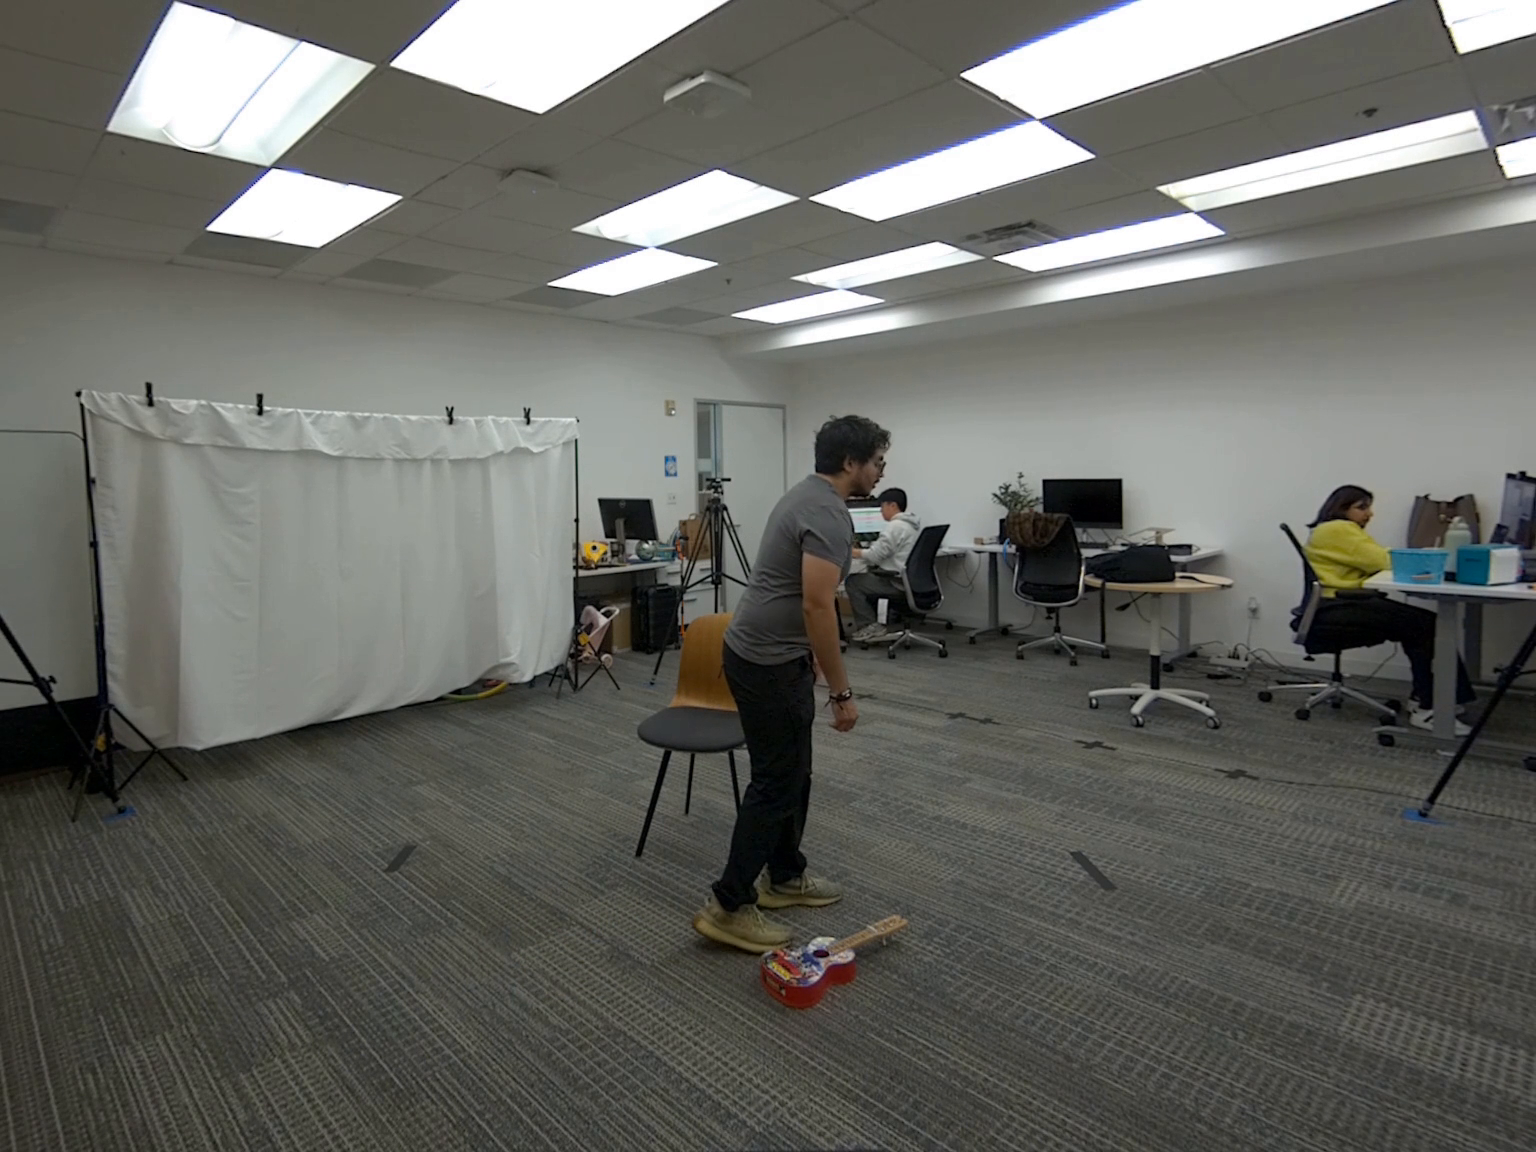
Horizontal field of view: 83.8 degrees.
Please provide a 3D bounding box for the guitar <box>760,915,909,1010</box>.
[{"bbox_3d":[0.228,1.085,2.420,0.487,0.070,0.198,-5,7,-26],"label":"guitar"}]
